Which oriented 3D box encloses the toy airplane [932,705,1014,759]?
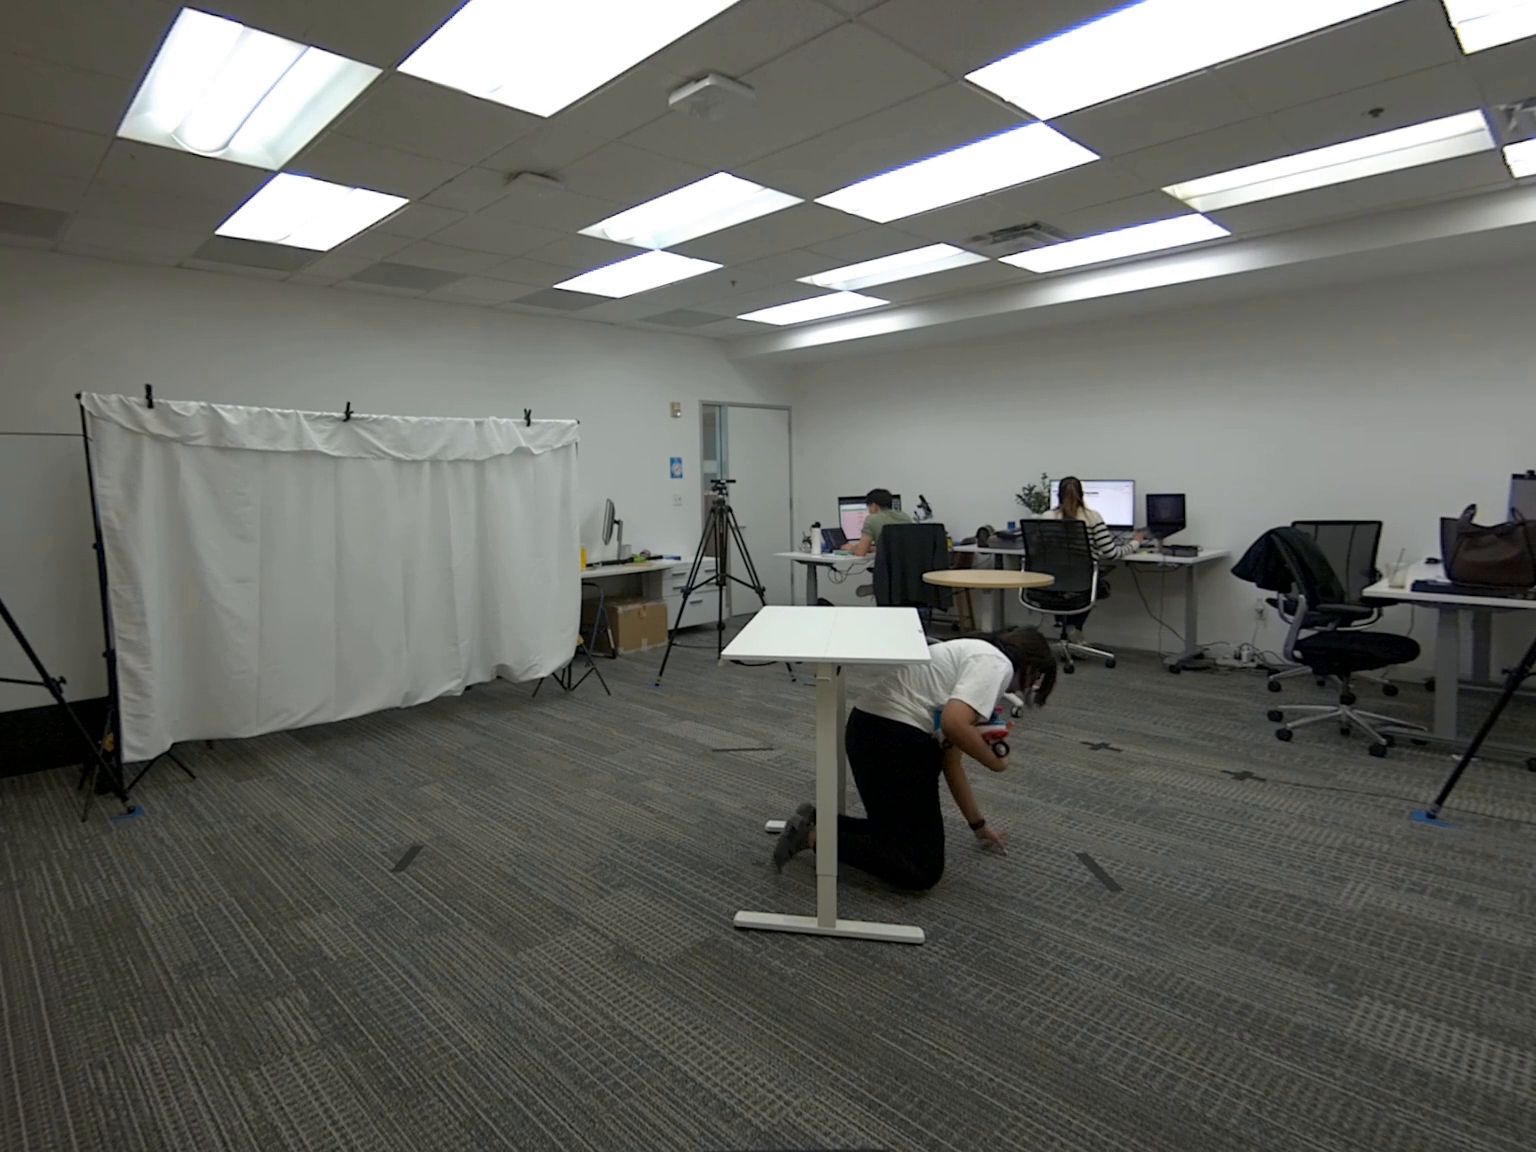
[{"bbox_3d":[0.689,0.521,2.864,0.250,0.159,0.255,27,-32,-32],"label":"toy airplane"}]
